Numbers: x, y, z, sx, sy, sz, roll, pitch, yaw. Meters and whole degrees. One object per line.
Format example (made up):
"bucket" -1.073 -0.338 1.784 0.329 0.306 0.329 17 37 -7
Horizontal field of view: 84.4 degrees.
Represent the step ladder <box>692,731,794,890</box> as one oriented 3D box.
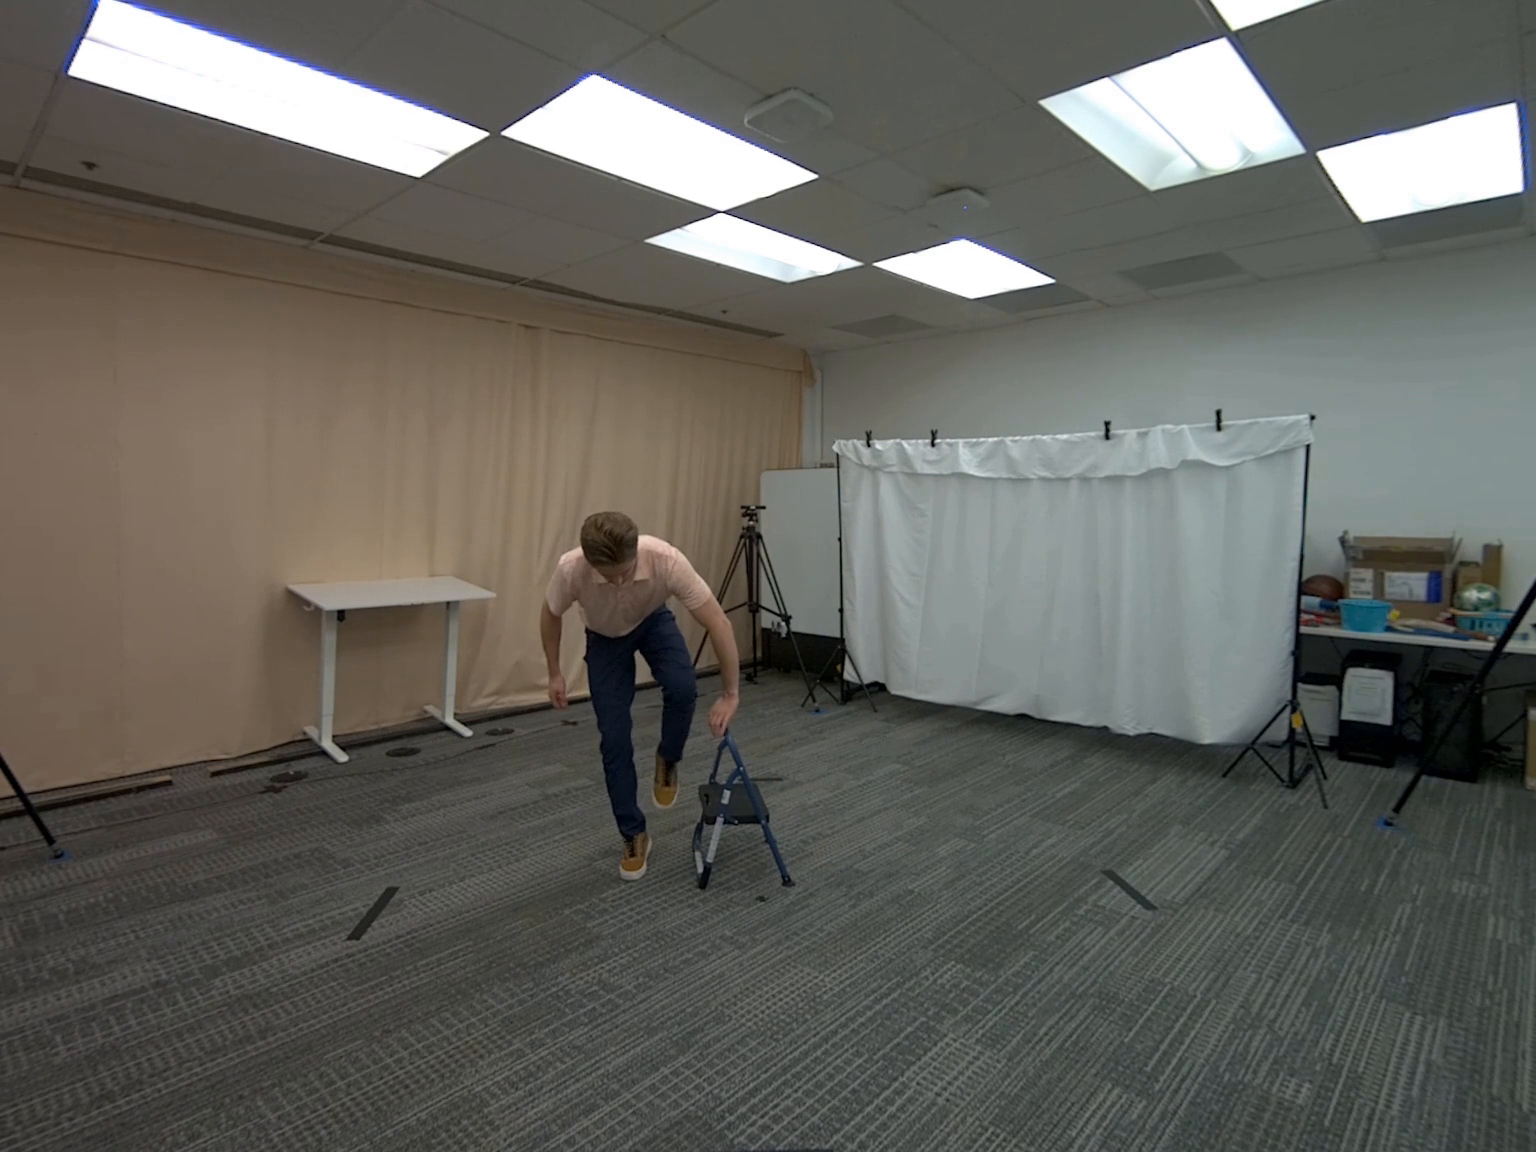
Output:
"step ladder" -0.106 0.827 3.258 0.346 0.605 0.435 1 2 -9
